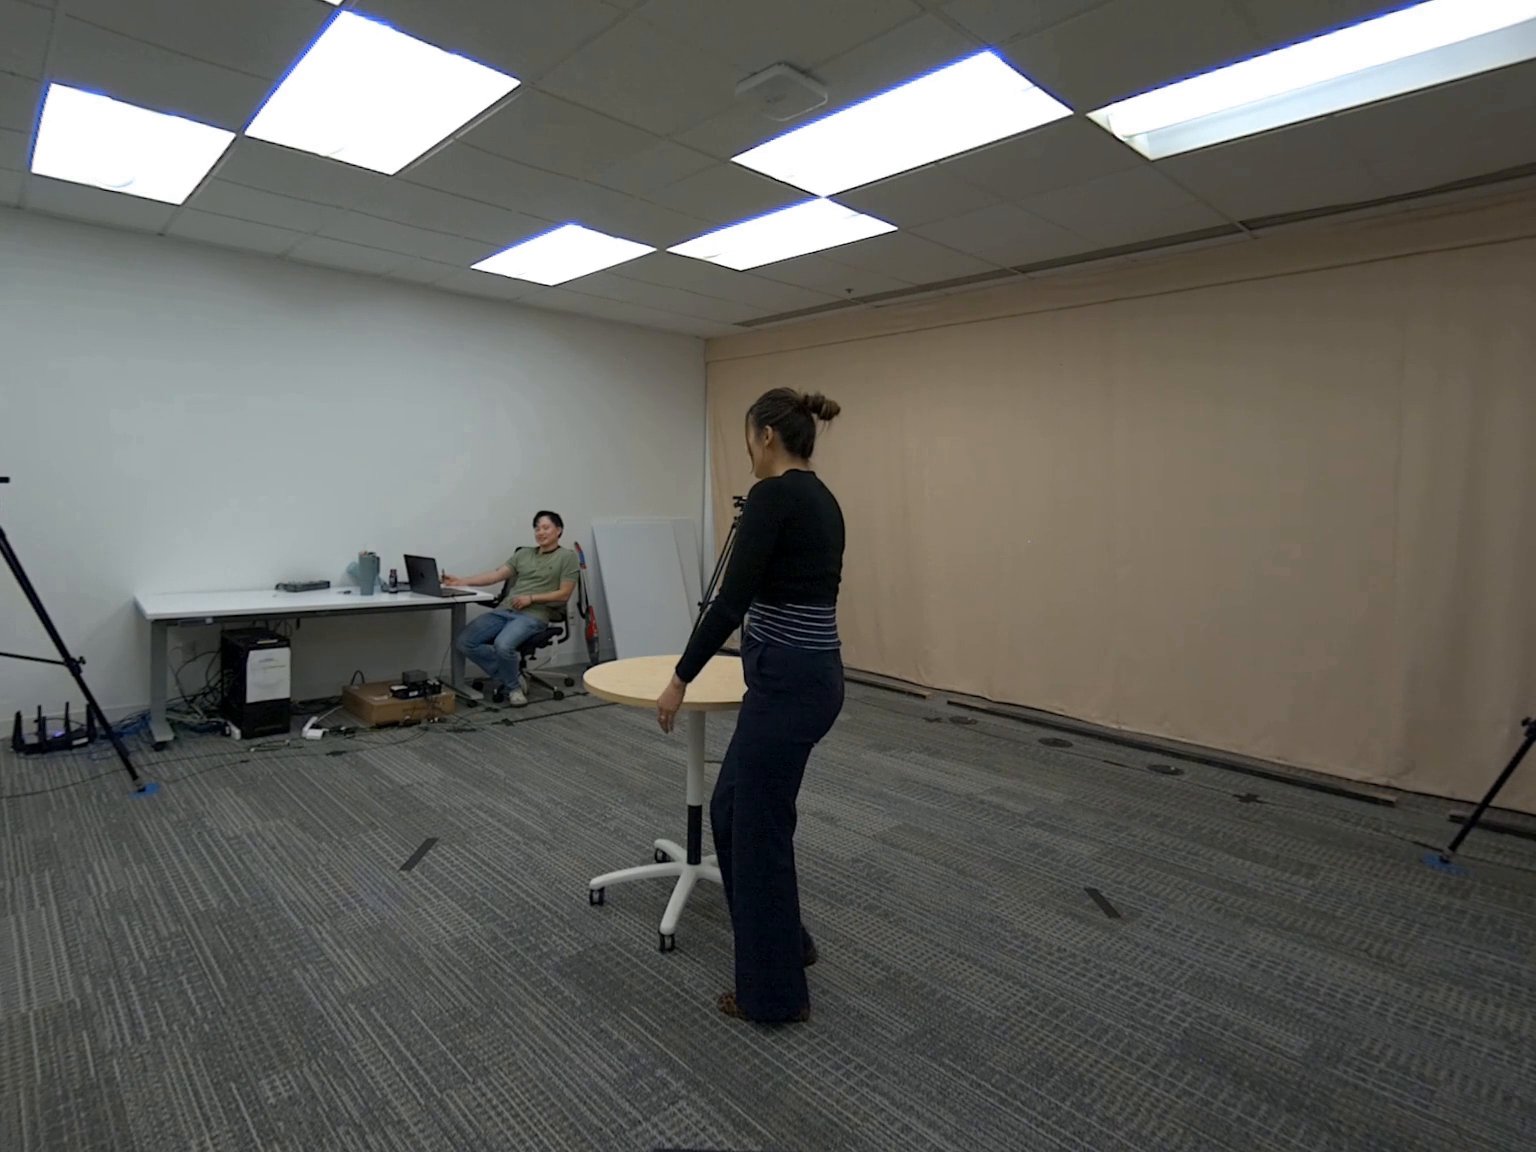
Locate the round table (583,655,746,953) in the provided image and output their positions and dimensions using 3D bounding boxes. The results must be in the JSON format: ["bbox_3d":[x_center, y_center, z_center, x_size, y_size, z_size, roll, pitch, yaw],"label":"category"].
[{"bbox_3d":[-0.254,0.731,2.867,0.763,0.792,0.766,1,4,-1],"label":"round table"}]
